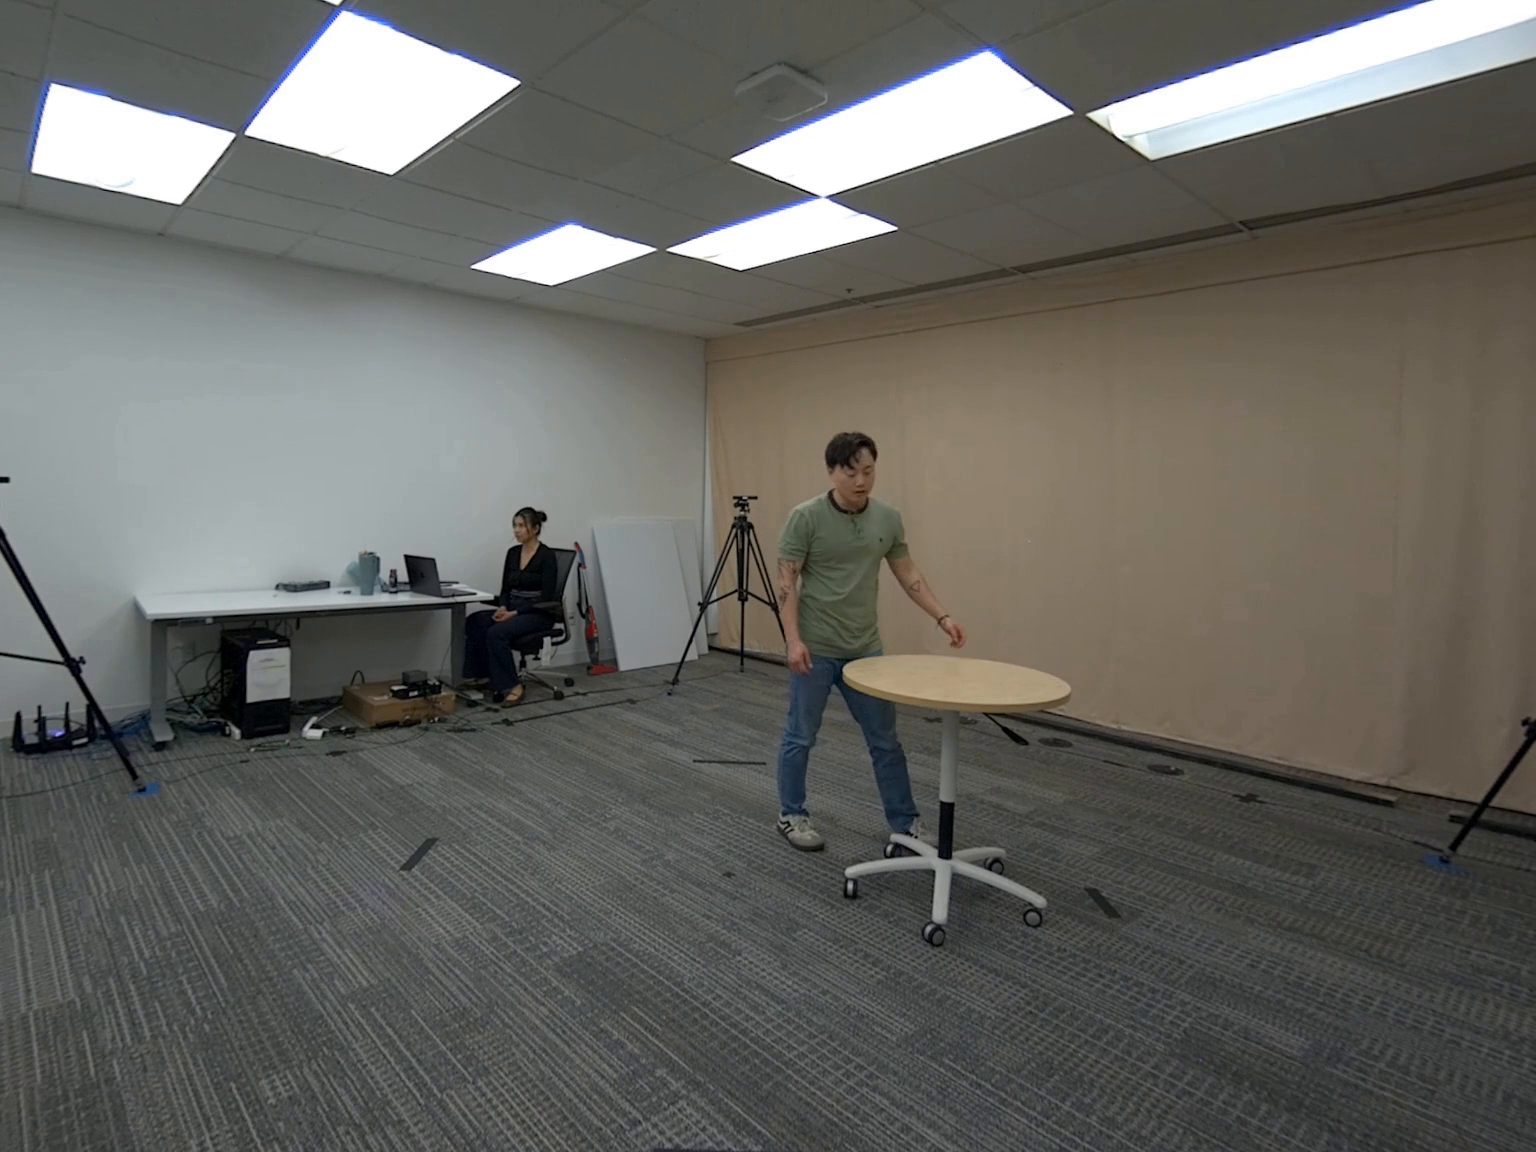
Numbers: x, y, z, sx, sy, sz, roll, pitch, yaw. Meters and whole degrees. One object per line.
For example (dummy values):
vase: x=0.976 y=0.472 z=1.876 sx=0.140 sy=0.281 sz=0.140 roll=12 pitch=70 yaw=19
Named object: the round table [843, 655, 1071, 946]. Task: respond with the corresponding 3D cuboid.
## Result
round table: x=0.625 y=0.743 z=2.960 sx=0.763 sy=0.791 sz=0.767 roll=2 pitch=5 yaw=-2
